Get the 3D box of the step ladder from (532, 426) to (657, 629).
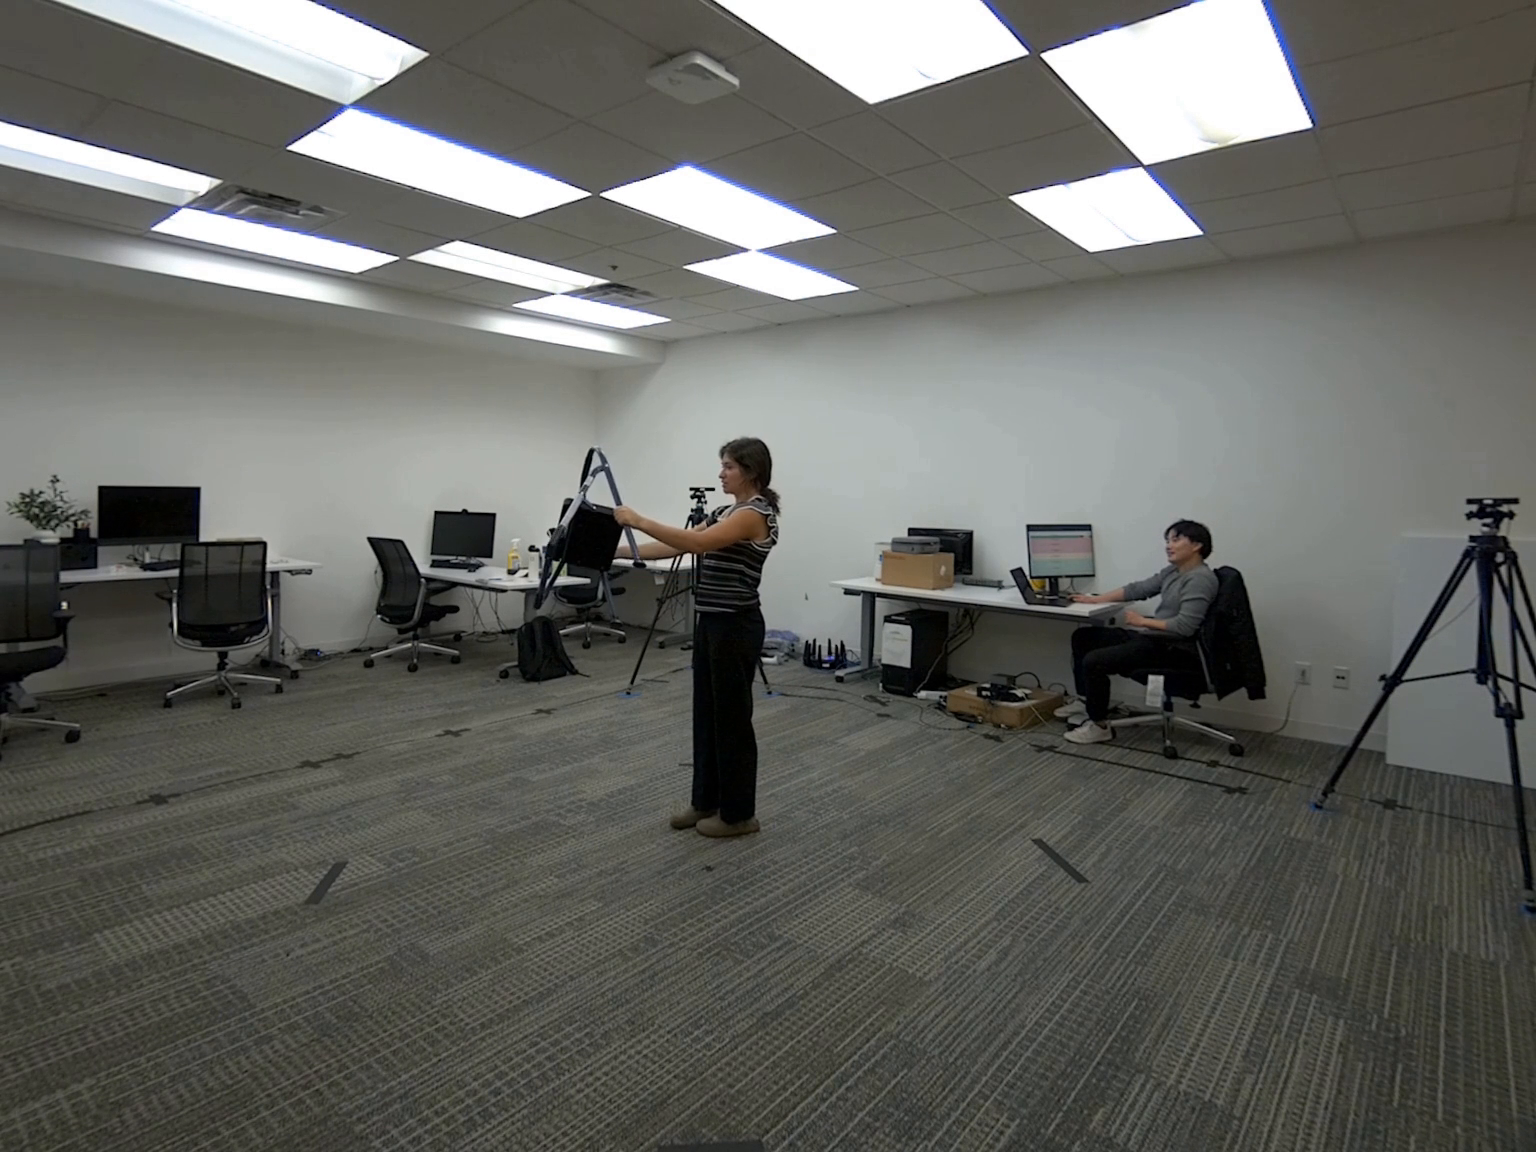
[{"bbox_3d":[-0.681,-0.193,3.312,0.343,0.623,0.426,11,-40,-15],"label":"step ladder"}]
